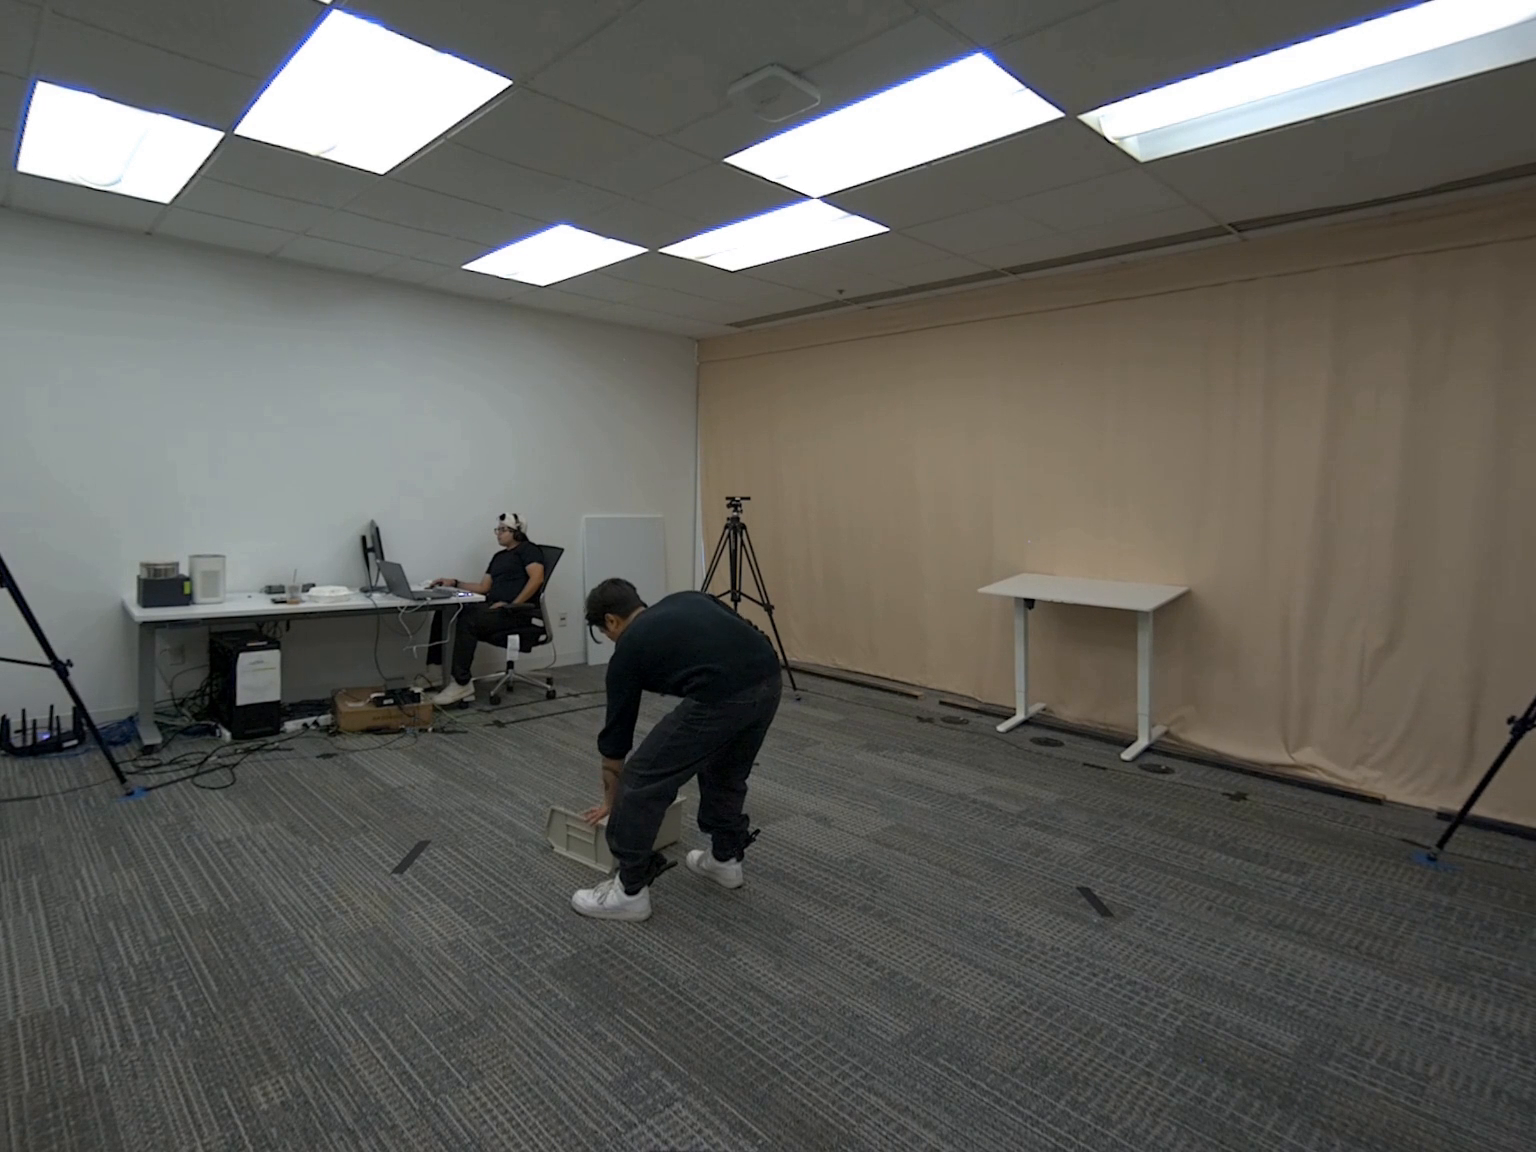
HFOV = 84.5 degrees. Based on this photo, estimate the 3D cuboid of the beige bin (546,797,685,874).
[{"bbox_3d":[-0.613,0.986,3.363,0.387,0.188,0.413,6,7,36],"label":"beige bin"}]
